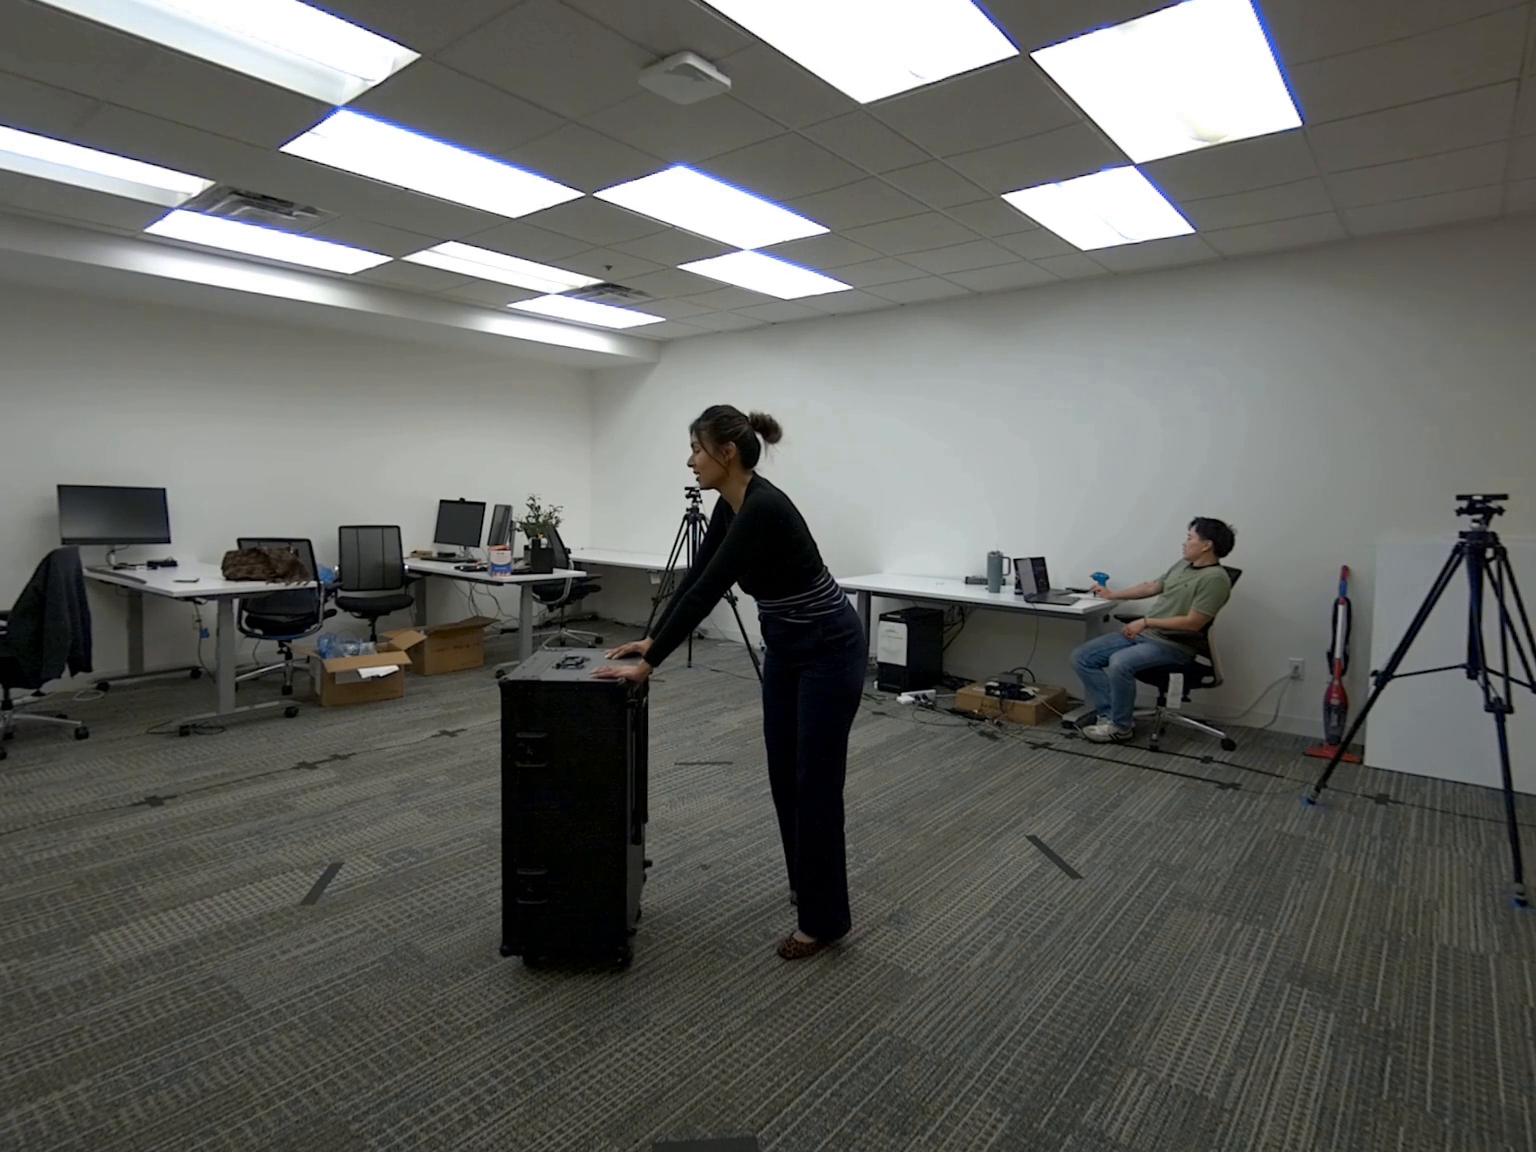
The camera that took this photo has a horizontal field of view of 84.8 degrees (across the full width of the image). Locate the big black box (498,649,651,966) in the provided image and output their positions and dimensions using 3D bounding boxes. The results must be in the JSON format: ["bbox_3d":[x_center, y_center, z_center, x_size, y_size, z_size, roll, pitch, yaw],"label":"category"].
[{"bbox_3d":[-0.575,0.688,2.599,0.396,0.860,0.522,1,2,-1],"label":"big black box"}]
